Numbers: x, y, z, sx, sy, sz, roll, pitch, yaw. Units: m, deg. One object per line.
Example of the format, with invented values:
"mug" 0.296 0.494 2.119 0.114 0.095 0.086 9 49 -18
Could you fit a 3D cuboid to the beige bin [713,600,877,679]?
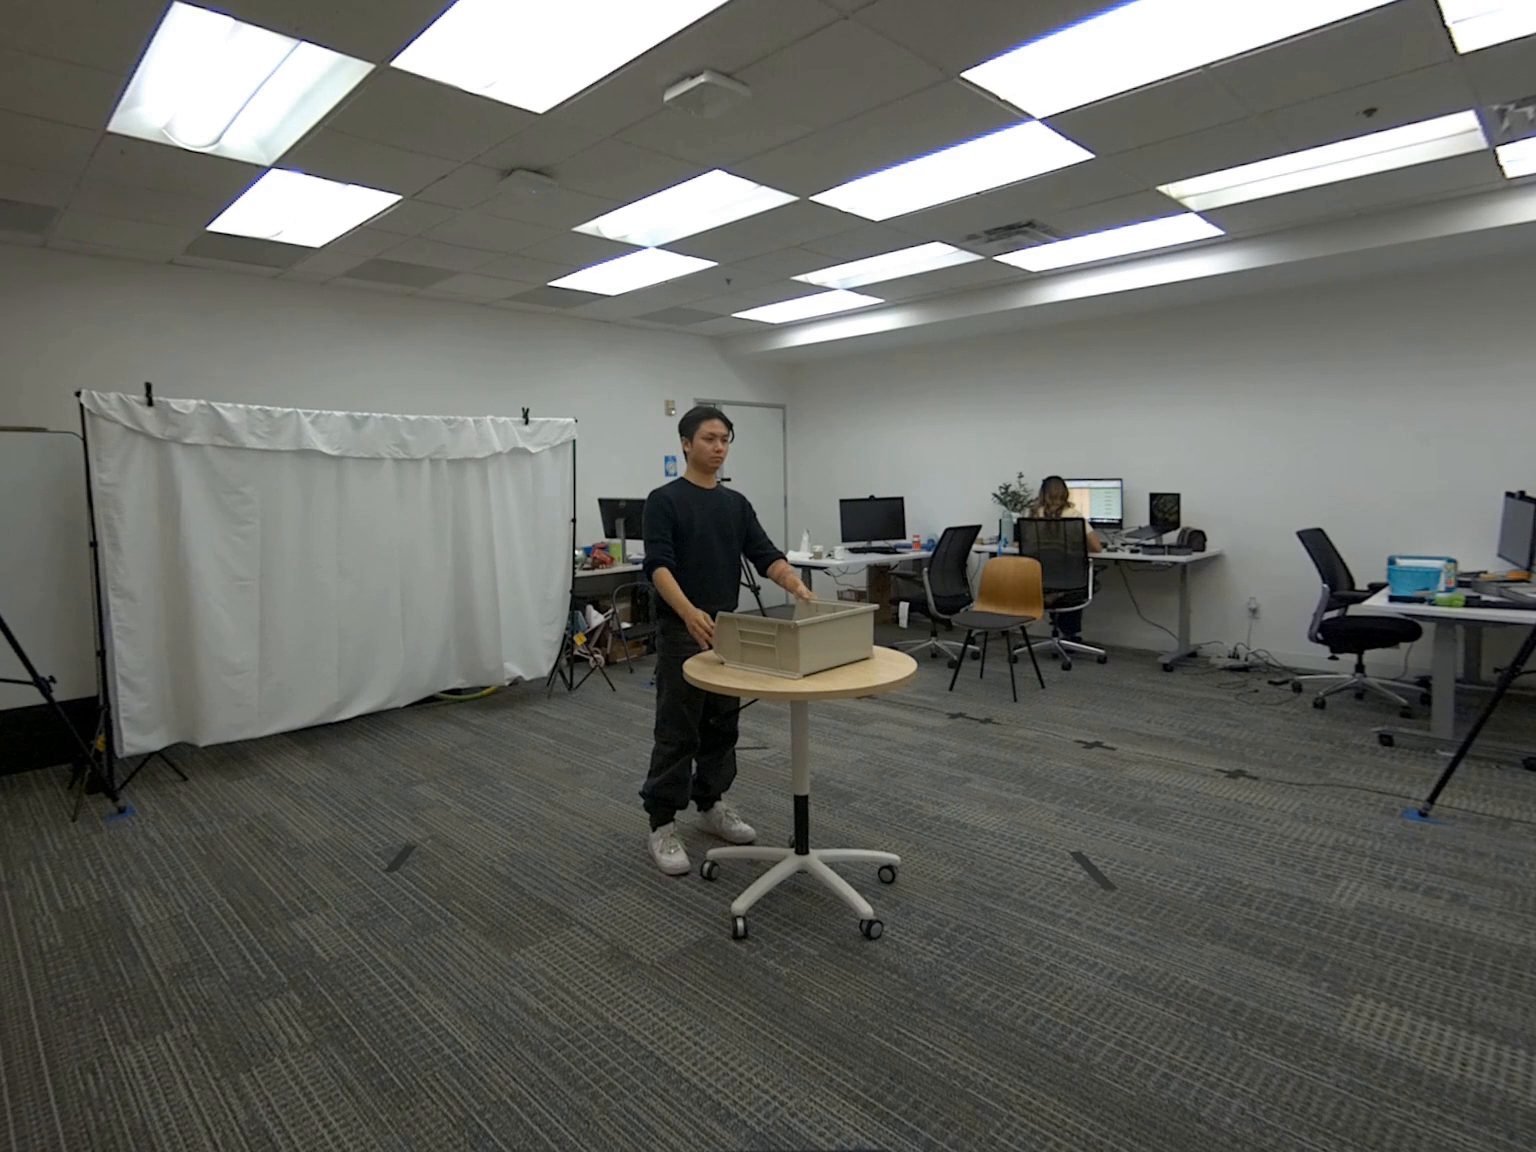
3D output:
"beige bin" 0.086 0.195 2.842 0.389 0.188 0.411 6 9 45
